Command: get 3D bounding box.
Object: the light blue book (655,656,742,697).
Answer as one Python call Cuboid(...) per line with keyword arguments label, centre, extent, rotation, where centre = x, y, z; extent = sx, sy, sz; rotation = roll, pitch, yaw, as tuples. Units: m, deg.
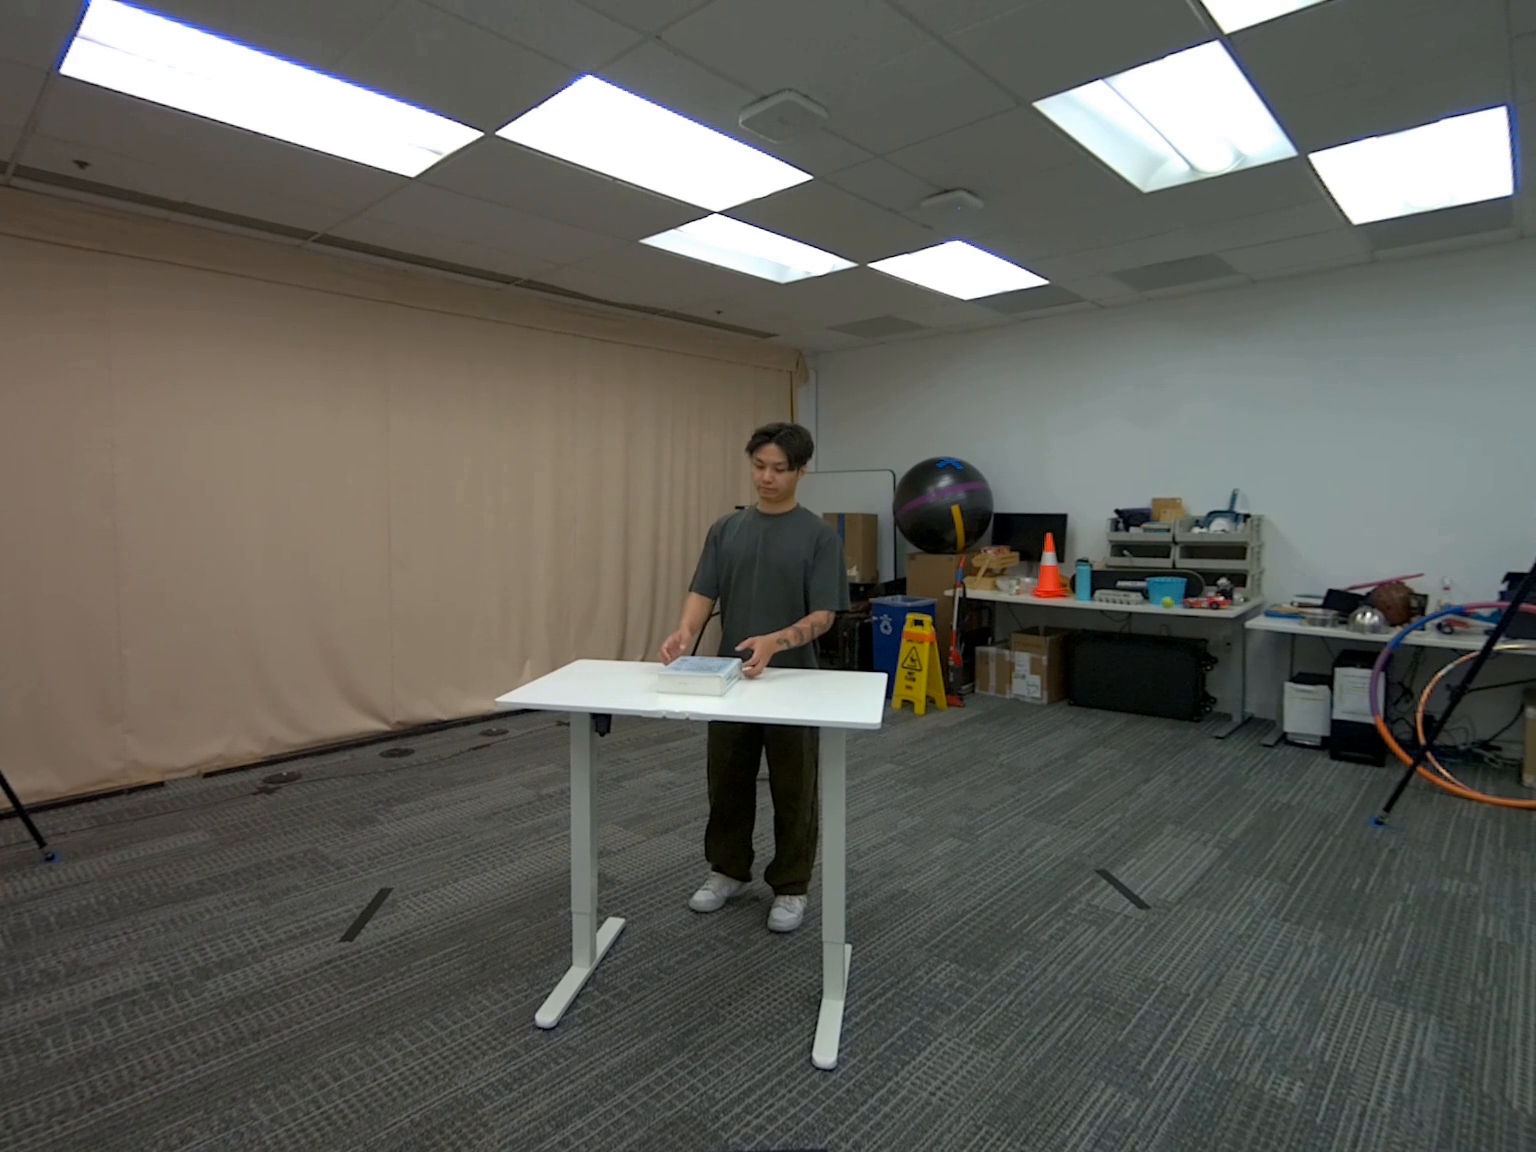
Cuboid(label="light blue book", centre=(-0.195, 0.287, 2.398), extent=(0.193, 0.059, 0.259), rotation=(1, 5, 8))
